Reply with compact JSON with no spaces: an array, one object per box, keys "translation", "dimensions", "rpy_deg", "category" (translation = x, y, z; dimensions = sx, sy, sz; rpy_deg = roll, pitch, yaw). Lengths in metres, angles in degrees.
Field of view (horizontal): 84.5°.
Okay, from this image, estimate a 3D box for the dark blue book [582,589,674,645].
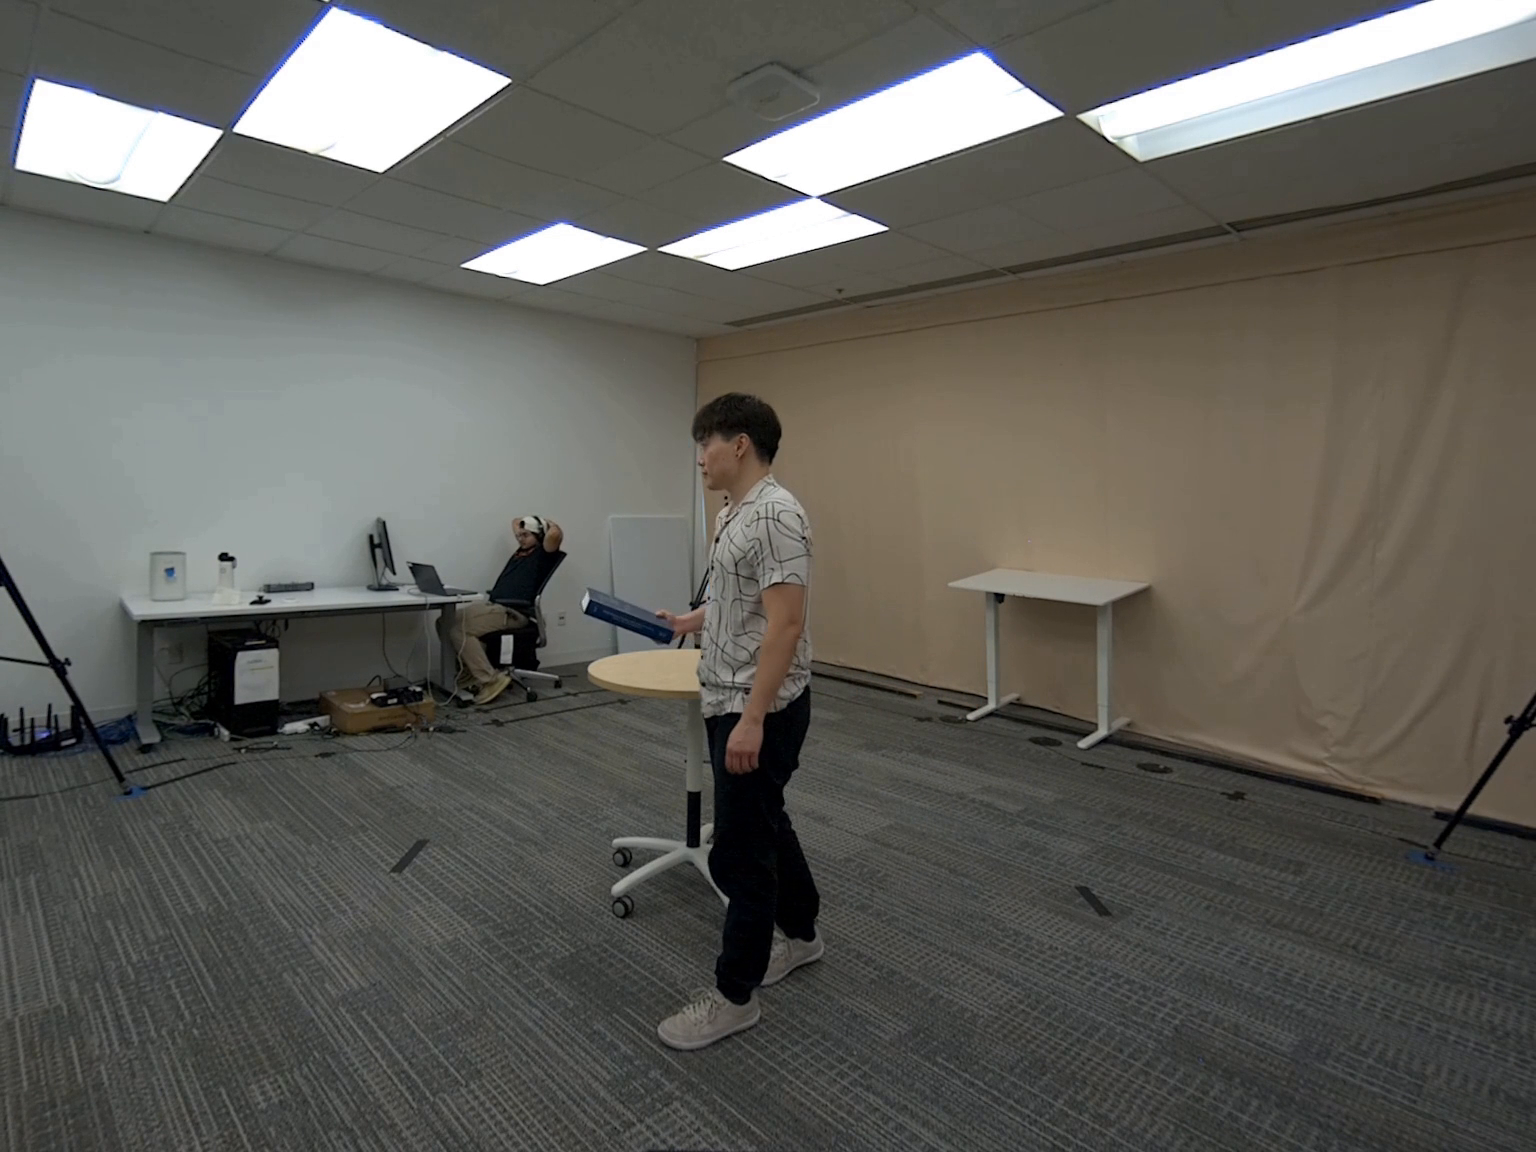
[{"translation":[-0.391,0.105,2.304],"dimensions":[0.241,0.045,0.166],"rpy_deg":[21,4,-15],"category":"dark blue book"}]
